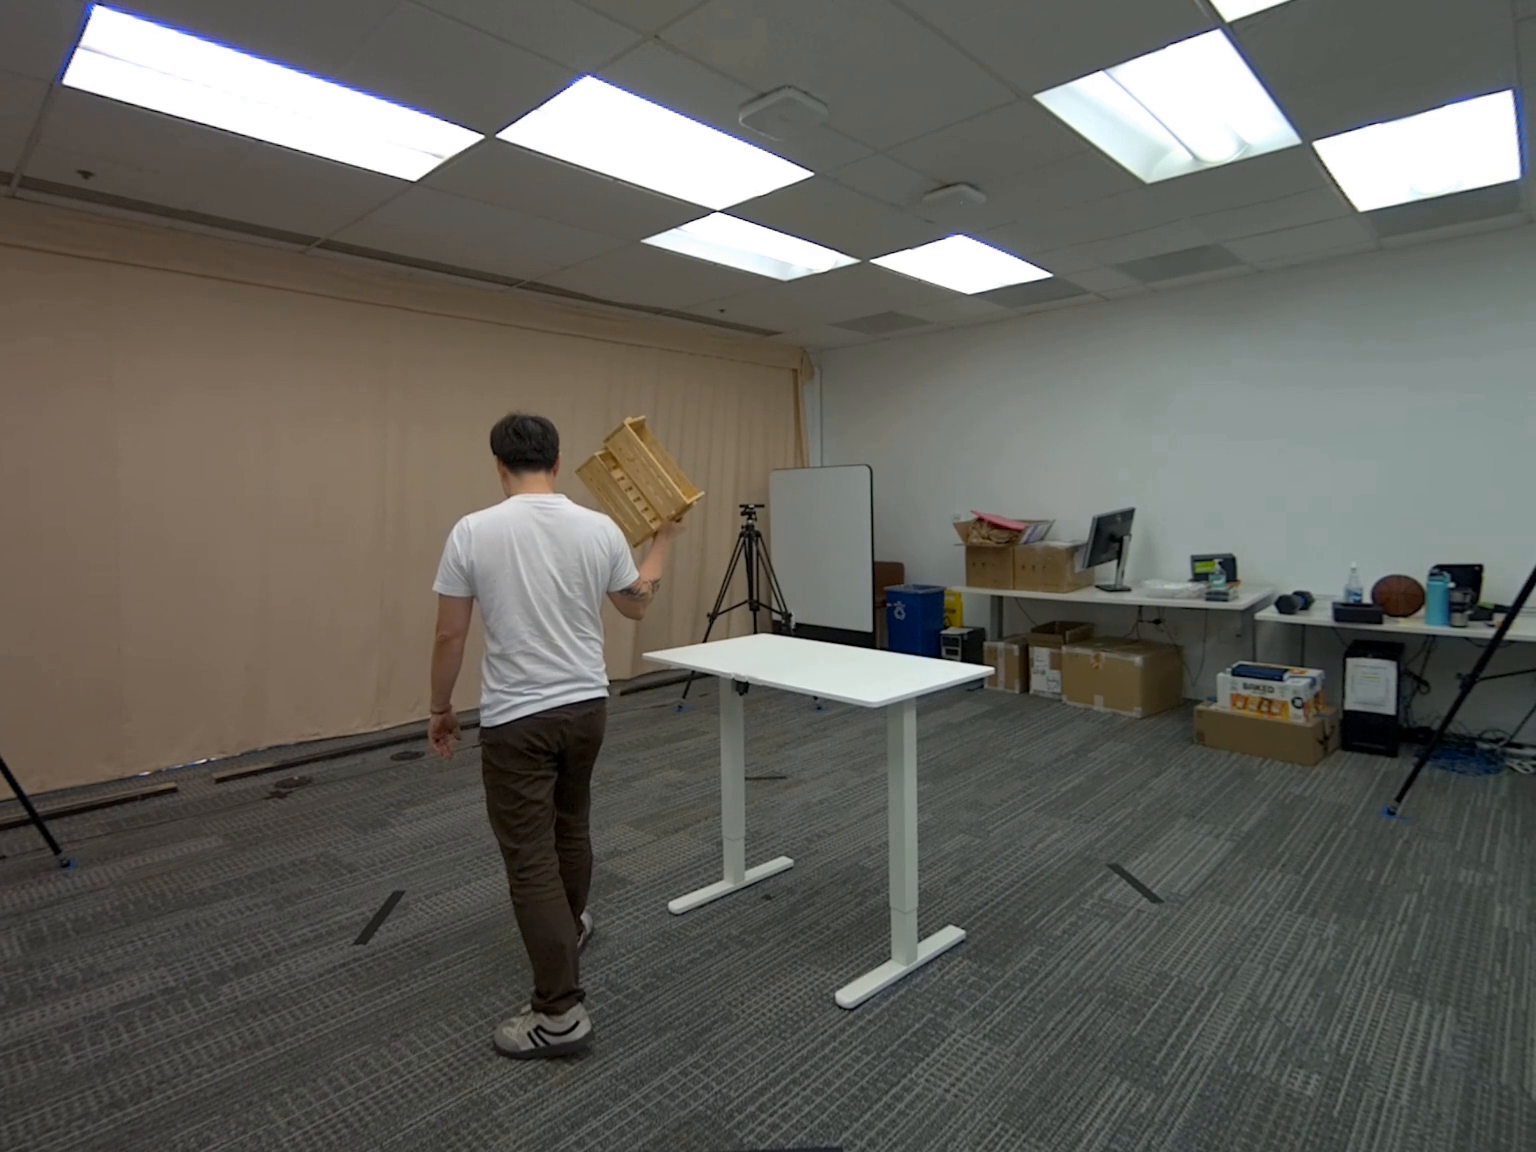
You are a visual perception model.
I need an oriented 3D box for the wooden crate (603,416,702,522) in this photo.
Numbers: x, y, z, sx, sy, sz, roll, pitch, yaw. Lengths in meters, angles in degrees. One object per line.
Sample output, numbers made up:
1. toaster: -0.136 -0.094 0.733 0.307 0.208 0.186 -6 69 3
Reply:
1. wooden crate: -0.373 -0.309 2.620 0.276 0.324 0.299 -36 2 25
